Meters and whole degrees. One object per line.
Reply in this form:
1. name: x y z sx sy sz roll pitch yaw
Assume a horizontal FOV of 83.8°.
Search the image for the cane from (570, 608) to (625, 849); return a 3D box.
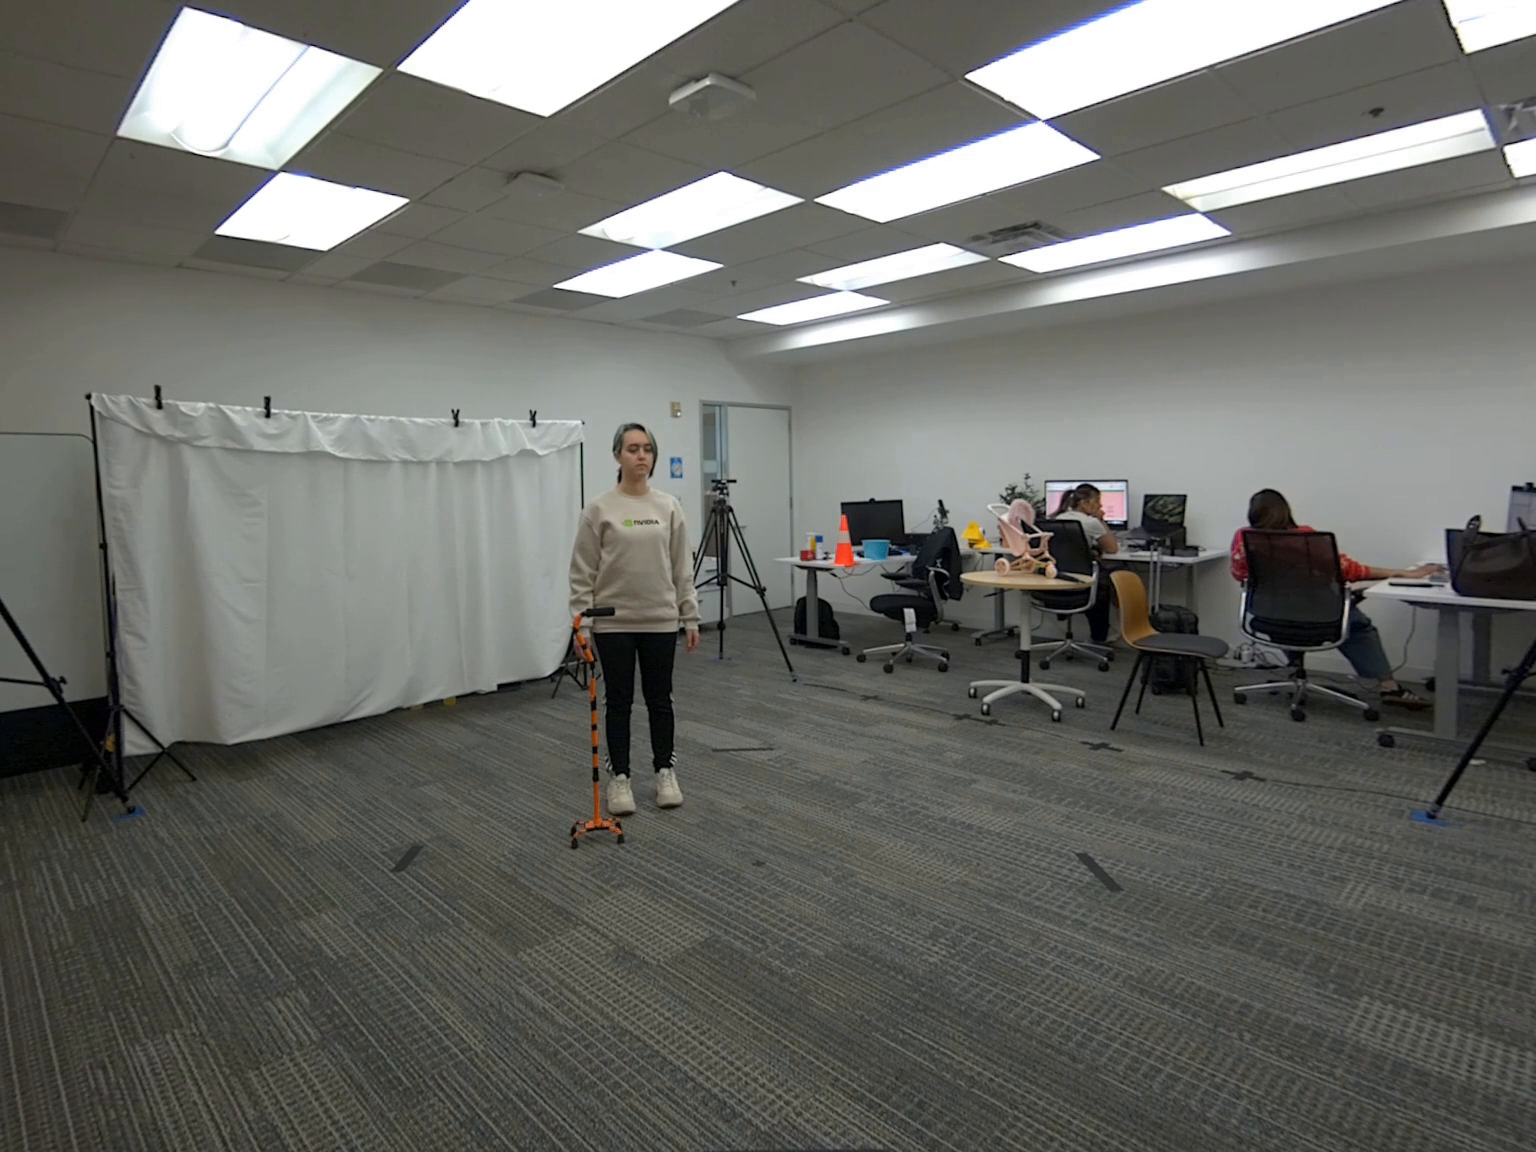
1. cane: -0.675 0.583 3.334 0.204 0.906 0.154 -1 3 -14
